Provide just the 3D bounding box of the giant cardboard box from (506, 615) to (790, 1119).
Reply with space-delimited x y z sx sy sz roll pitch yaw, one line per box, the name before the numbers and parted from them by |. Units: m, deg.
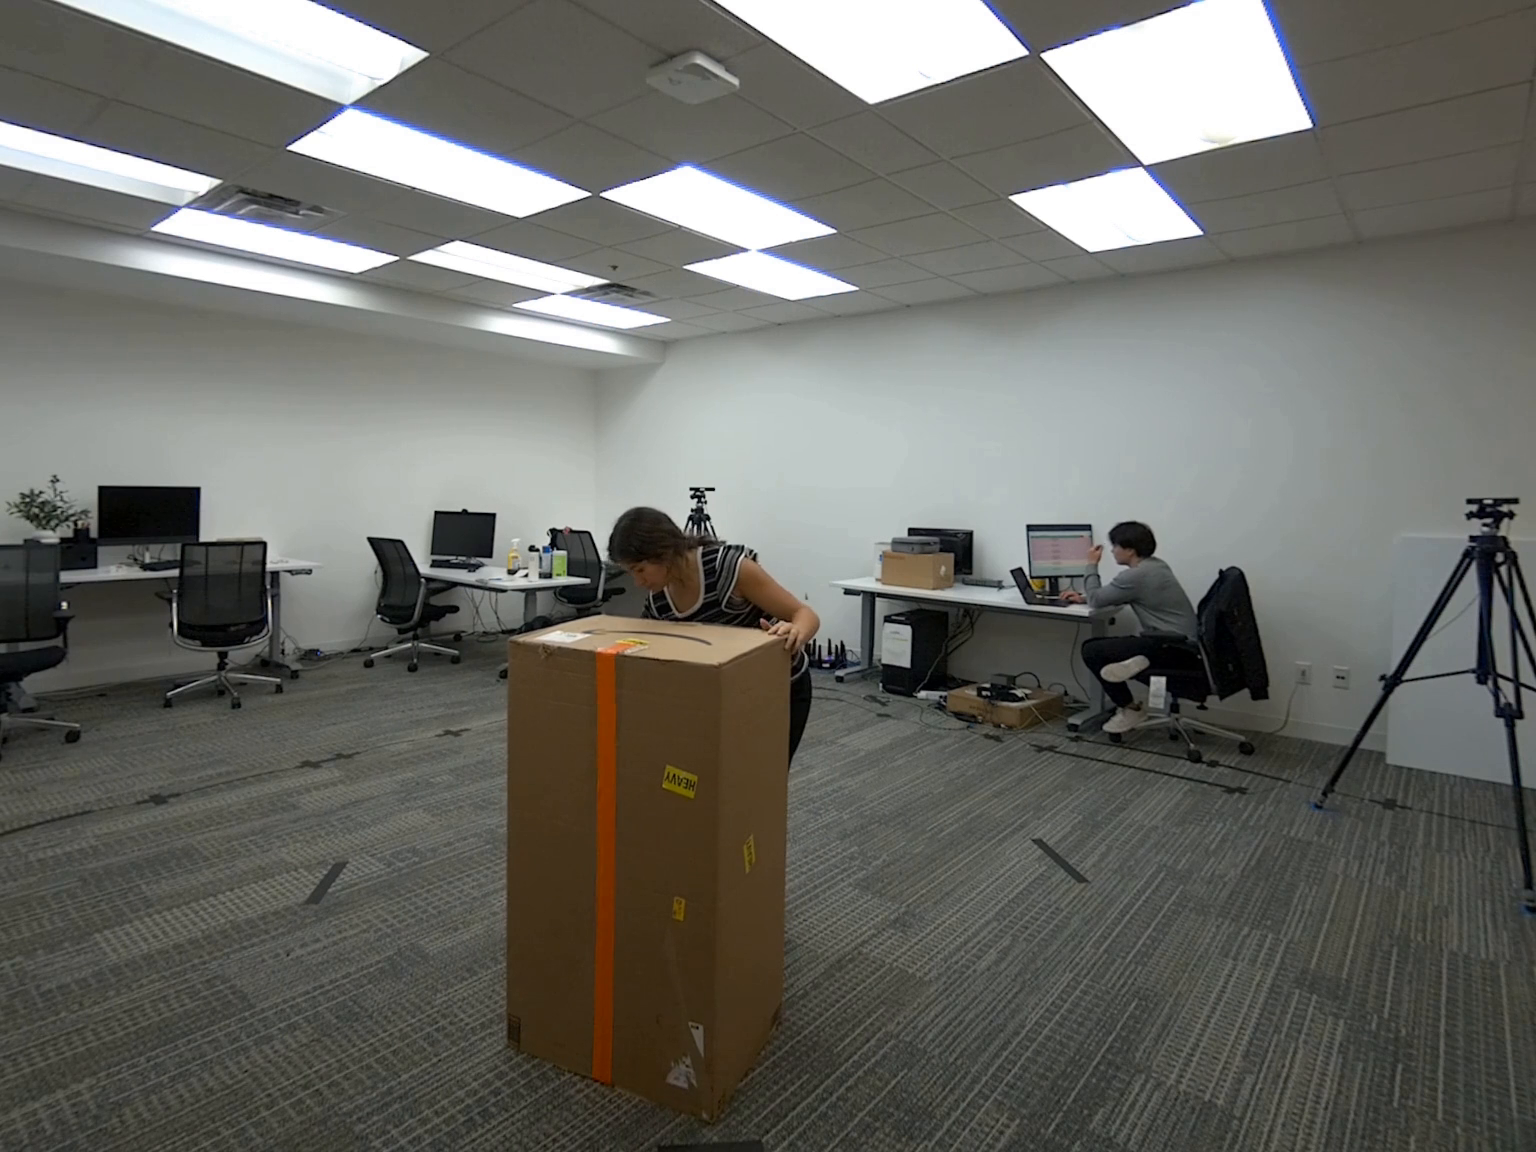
giant cardboard box | -0.306 0.652 2.131 0.592 1.022 0.417 3 4 24
